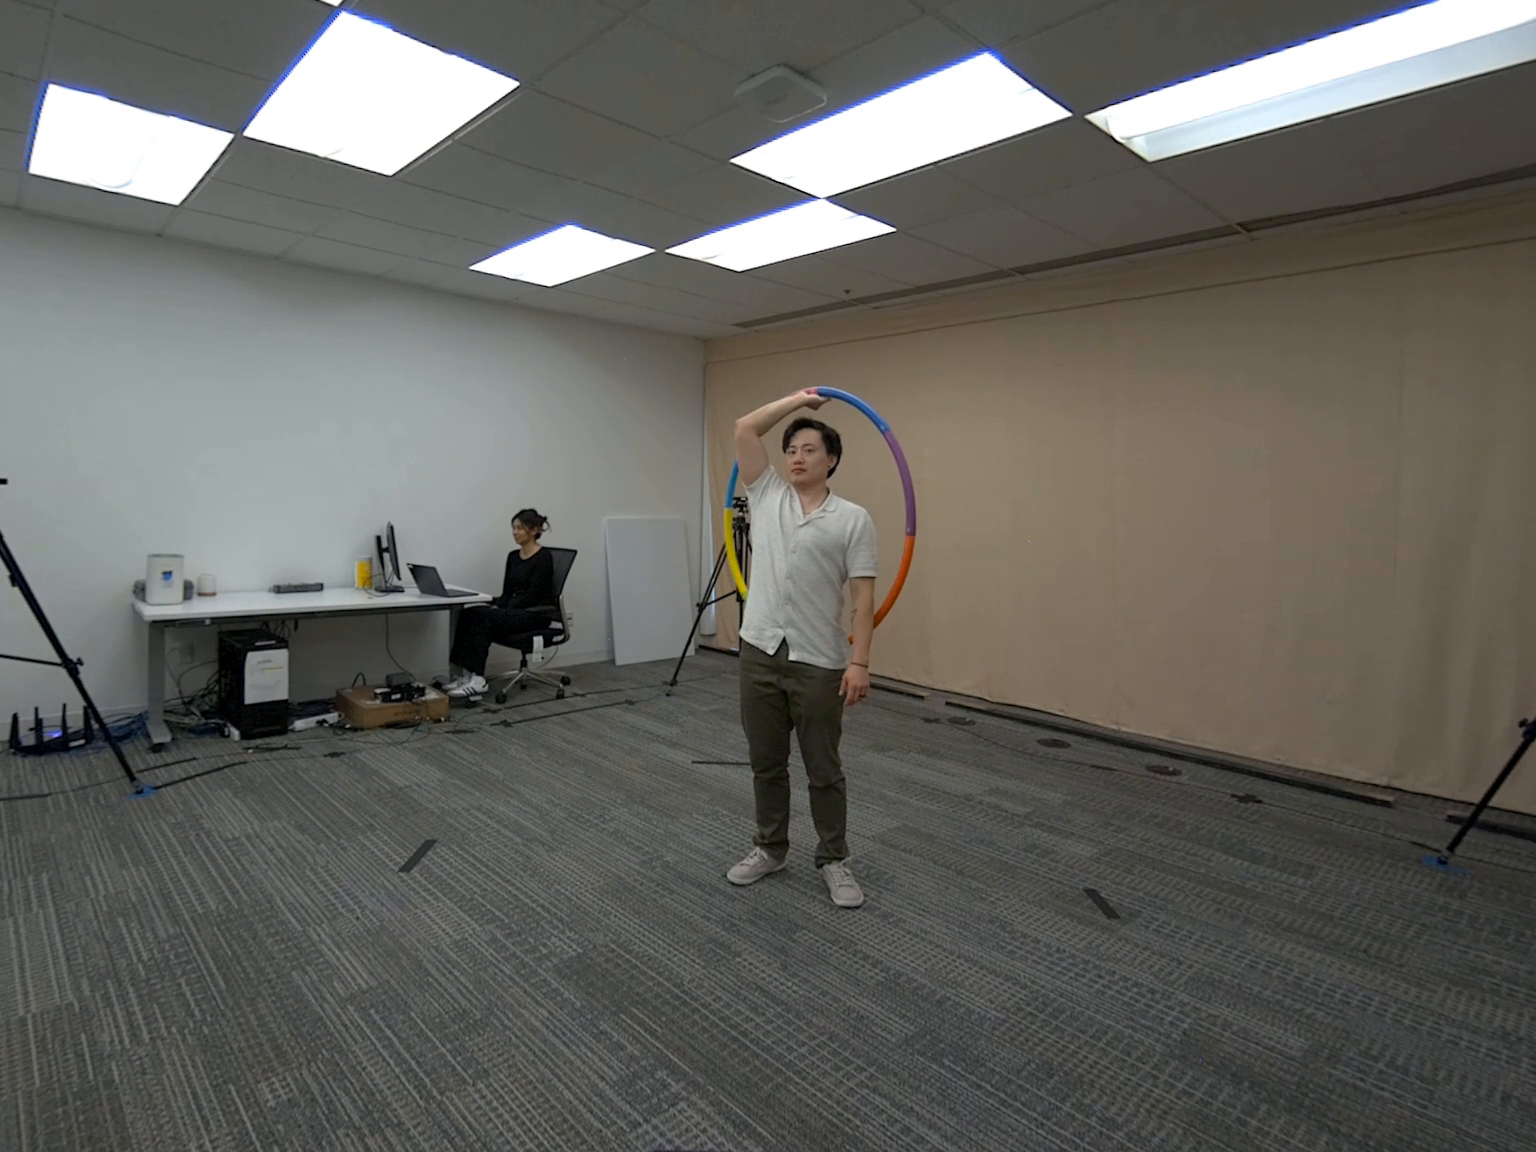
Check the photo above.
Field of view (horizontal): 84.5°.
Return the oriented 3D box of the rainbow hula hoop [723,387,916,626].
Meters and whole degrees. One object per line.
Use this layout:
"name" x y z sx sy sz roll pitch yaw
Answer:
"rainbow hula hoop" 0.160 -0.208 3.186 0.035 0.976 1.004 -2 5 -42
